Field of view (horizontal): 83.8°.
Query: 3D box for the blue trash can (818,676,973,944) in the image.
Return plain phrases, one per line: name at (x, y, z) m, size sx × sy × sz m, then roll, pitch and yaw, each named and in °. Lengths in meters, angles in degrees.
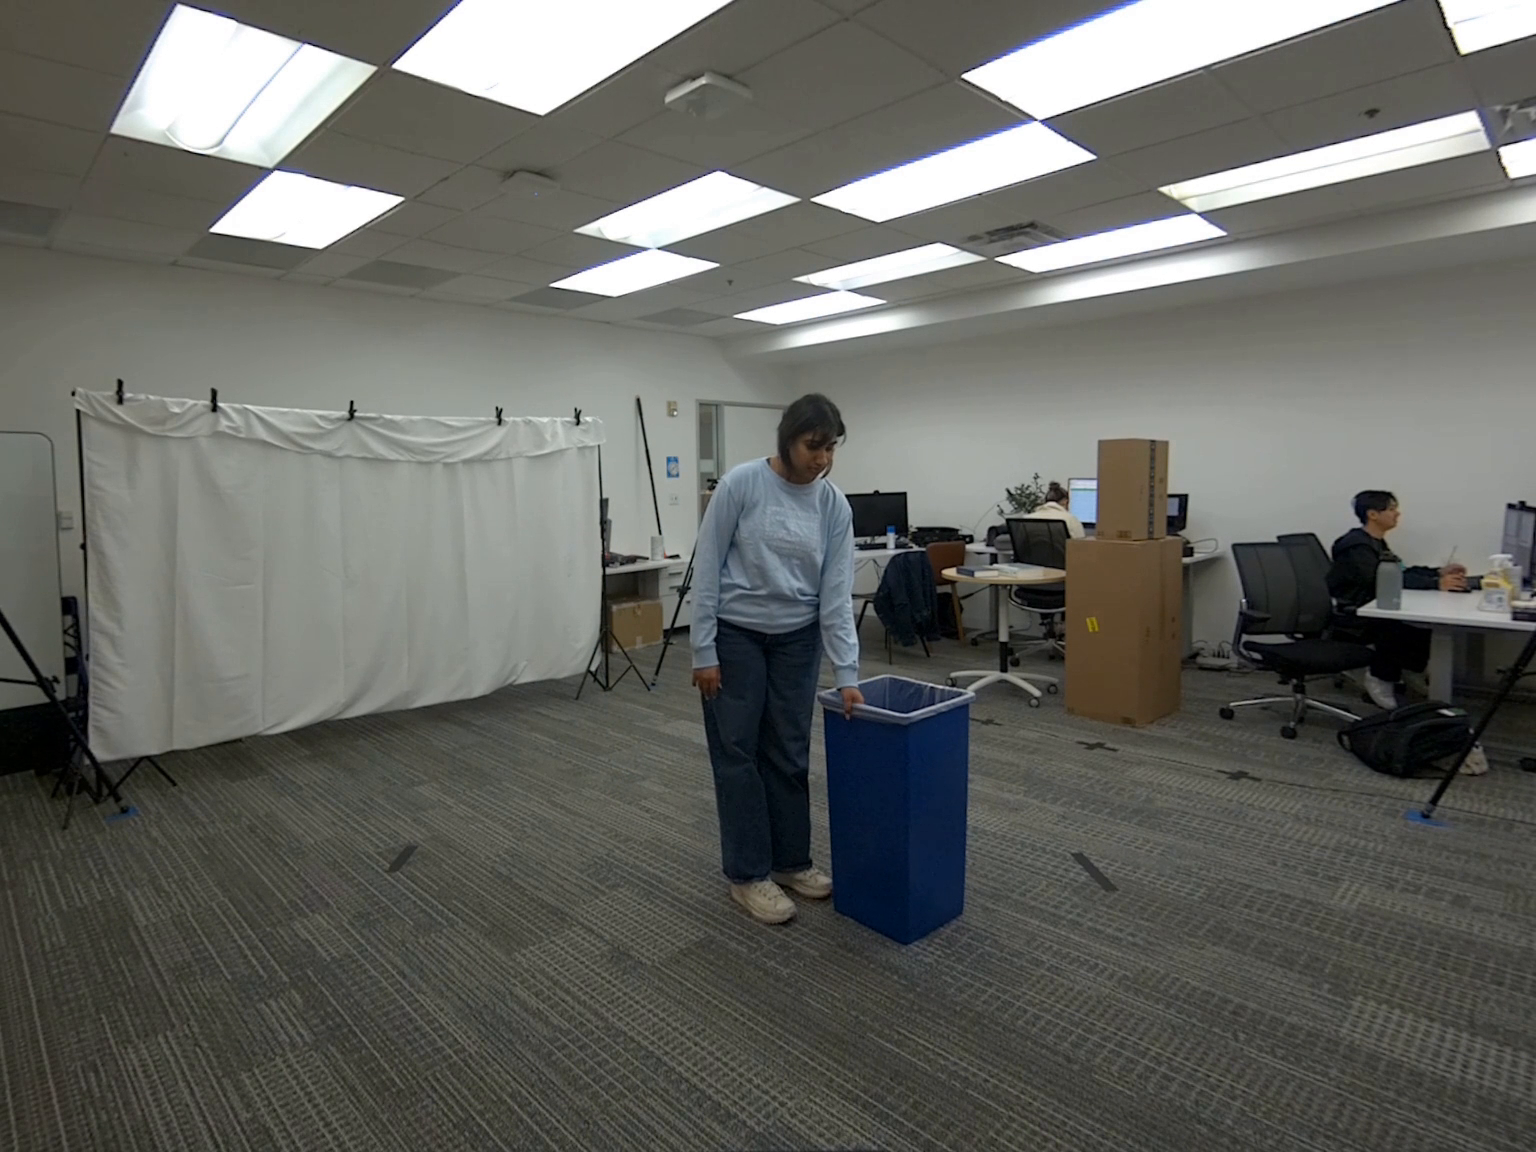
blue trash can at (0.413, 0.724, 2.717) m, size 0.364 × 0.711 × 0.389 m, roll -5°, pitch 5°, yaw -42°
